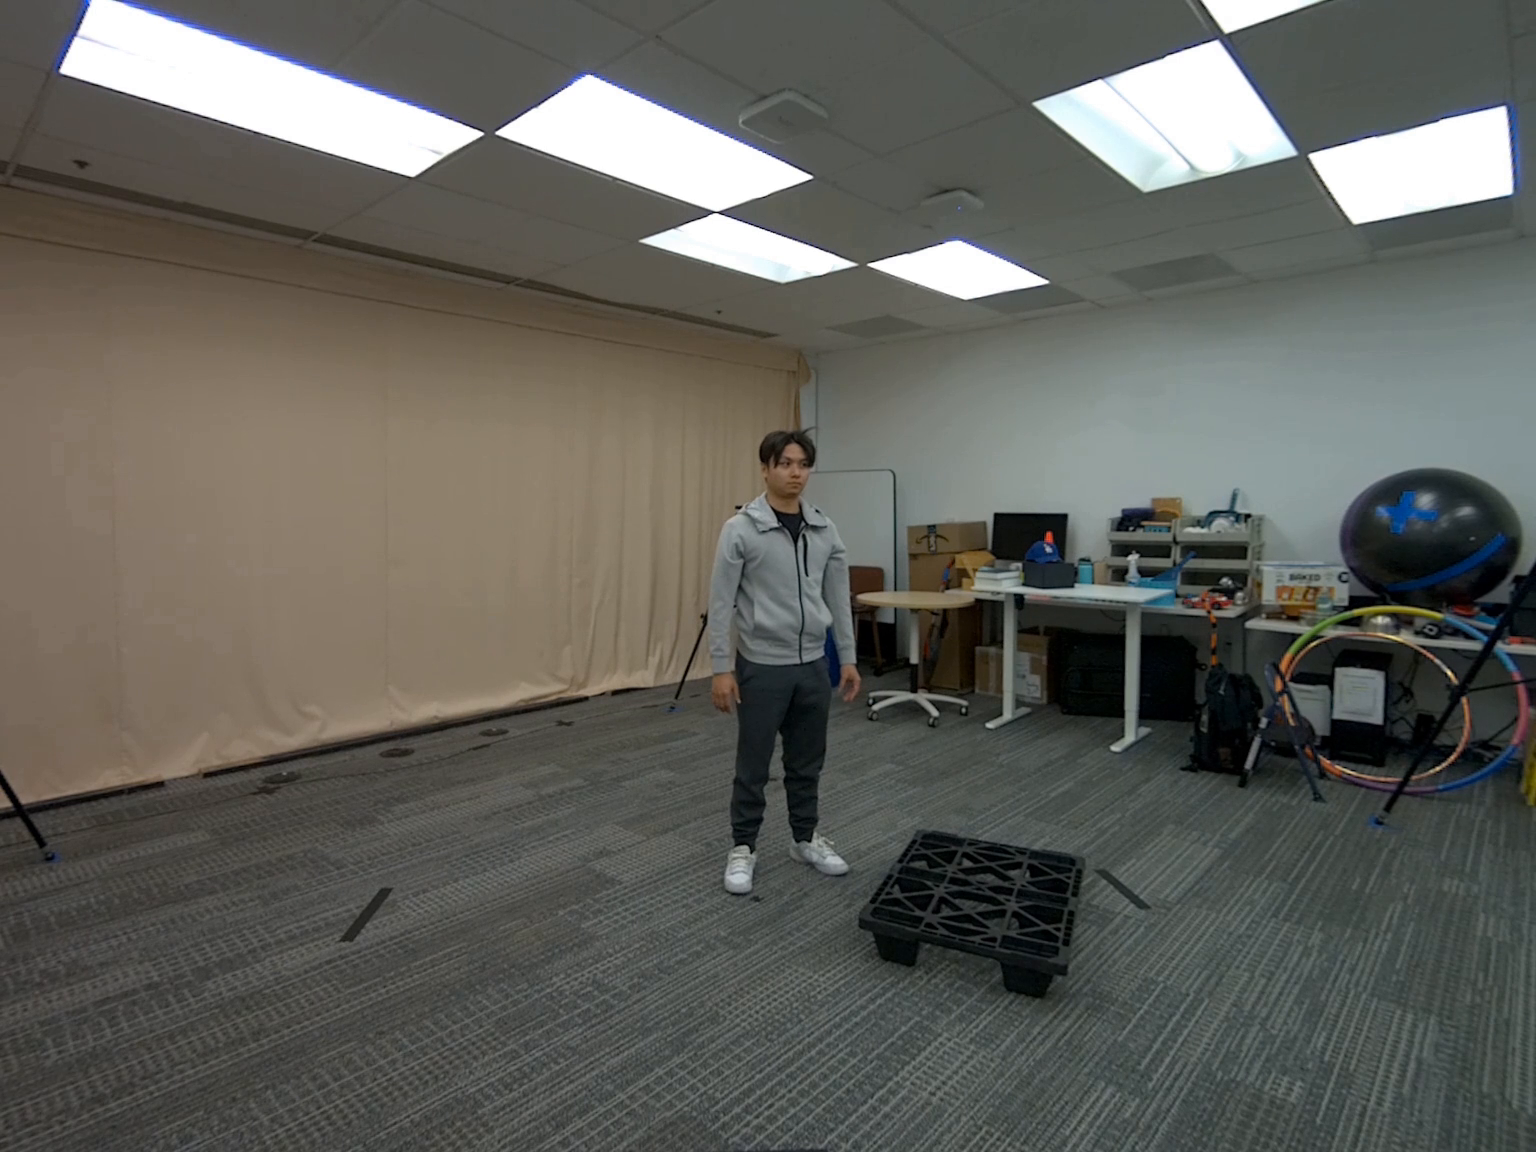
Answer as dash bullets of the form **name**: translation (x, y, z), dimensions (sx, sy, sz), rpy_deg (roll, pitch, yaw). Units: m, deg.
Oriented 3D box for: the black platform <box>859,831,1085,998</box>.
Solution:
- **black platform**: translation (0.712, 1.089, 2.798), dimensions (0.621, 0.143, 0.787), rpy_deg (3, 6, 25)
